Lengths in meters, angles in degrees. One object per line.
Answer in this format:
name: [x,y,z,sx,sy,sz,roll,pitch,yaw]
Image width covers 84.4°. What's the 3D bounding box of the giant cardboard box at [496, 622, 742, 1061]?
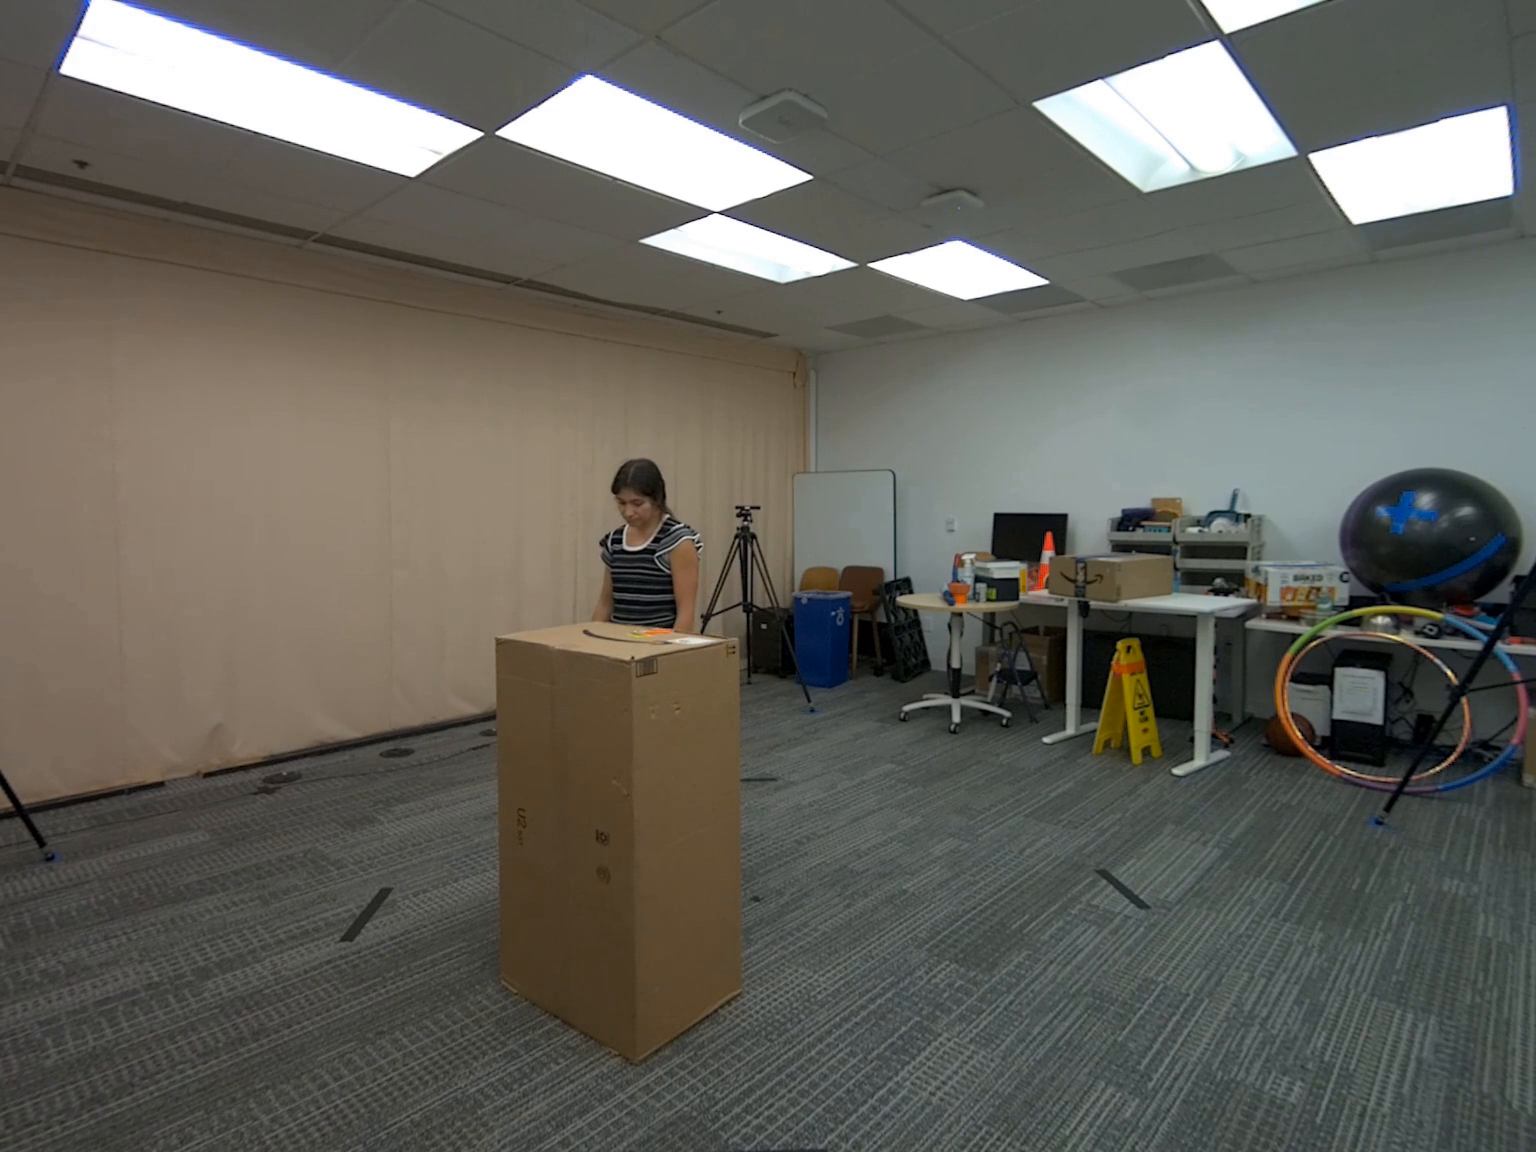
giant cardboard box: [-0.426,0.690,2.416,0.596,1.024,0.413,2,4,38]
